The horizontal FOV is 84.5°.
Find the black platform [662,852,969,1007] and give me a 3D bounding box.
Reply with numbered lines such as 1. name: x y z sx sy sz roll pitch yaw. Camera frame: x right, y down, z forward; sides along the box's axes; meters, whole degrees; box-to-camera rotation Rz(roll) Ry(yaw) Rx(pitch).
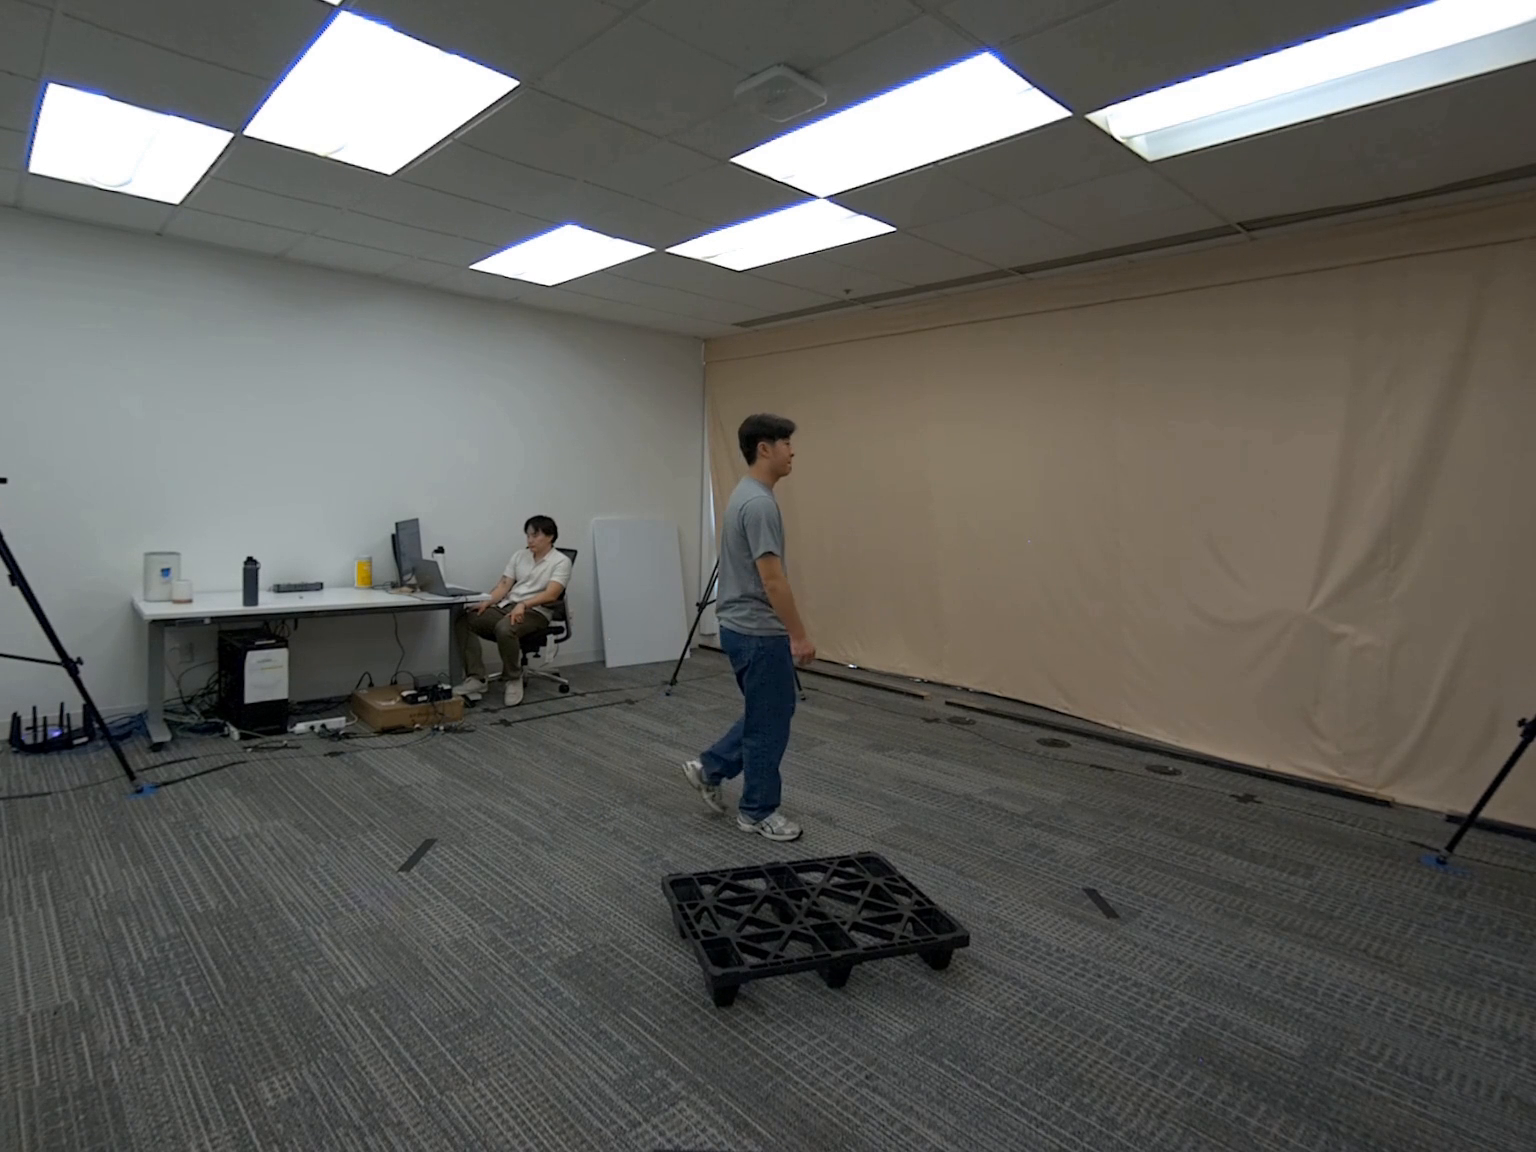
1. black platform: 0.109 1.087 2.630 0.794 0.143 0.616 0 5 -19
